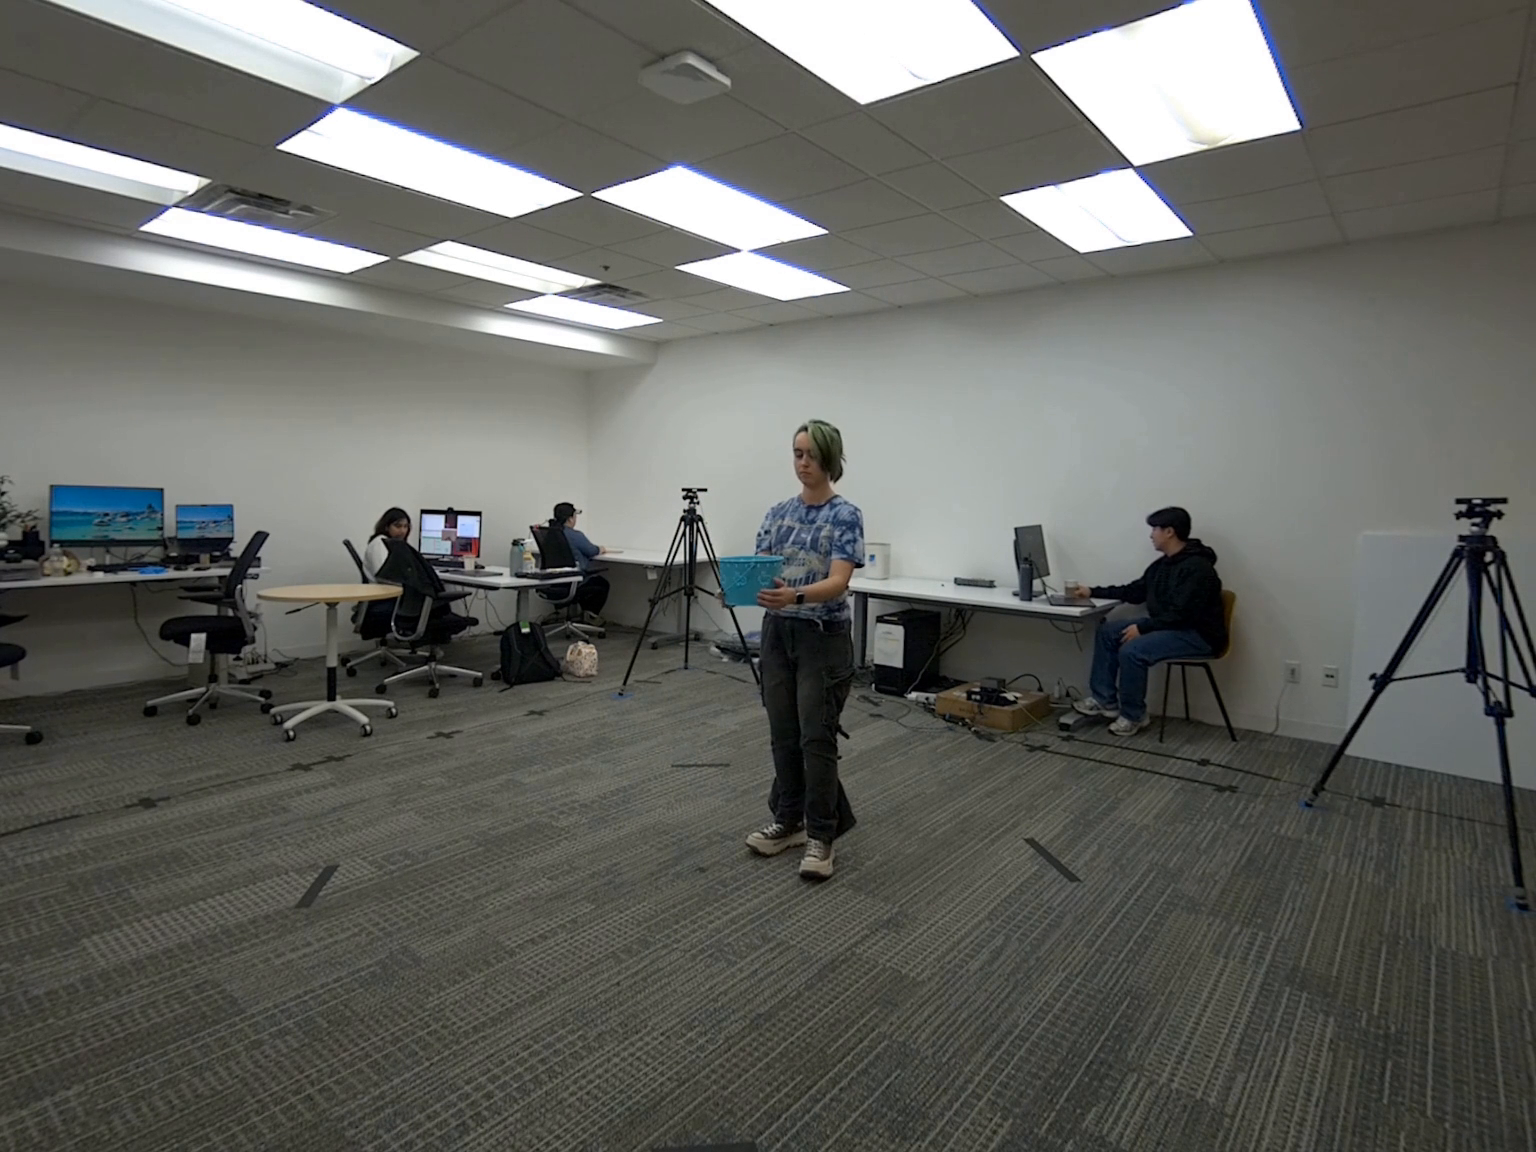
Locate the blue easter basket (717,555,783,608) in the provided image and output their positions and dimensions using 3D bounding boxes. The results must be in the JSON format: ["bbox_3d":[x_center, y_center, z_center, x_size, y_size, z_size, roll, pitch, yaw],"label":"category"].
[{"bbox_3d":[-0.062,0.016,2.908,0.243,0.155,0.244,-1,4,-2],"label":"blue easter basket"}]
